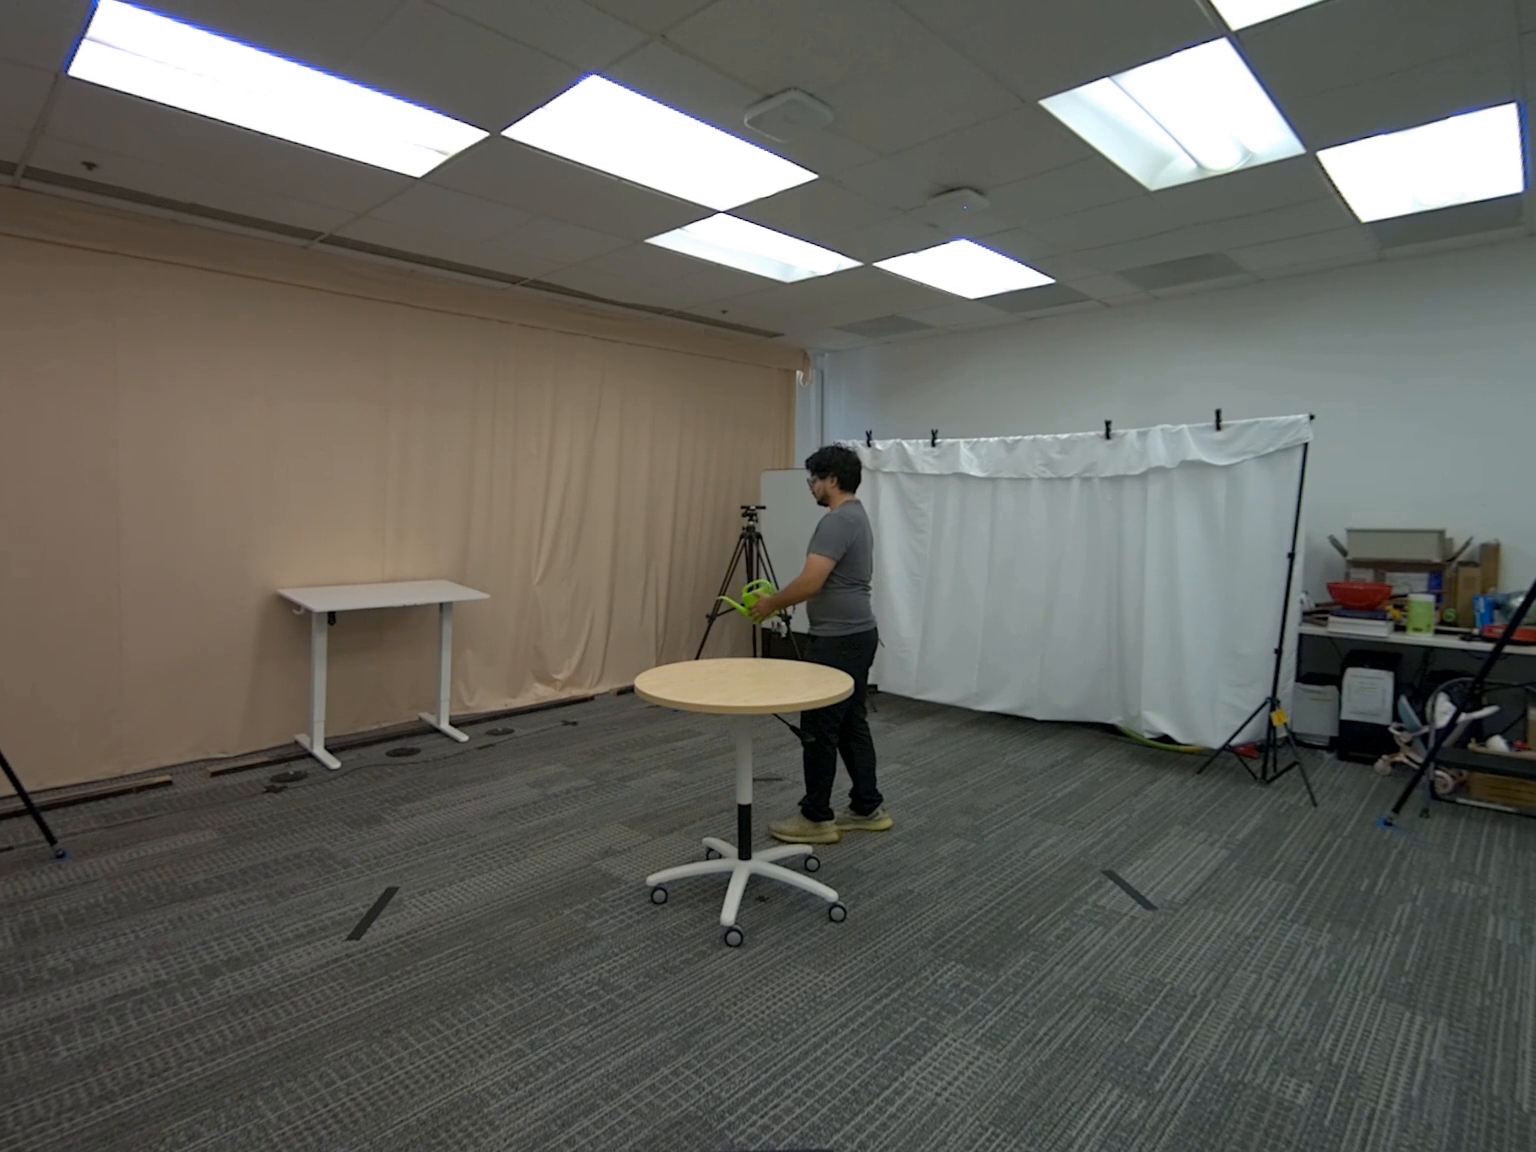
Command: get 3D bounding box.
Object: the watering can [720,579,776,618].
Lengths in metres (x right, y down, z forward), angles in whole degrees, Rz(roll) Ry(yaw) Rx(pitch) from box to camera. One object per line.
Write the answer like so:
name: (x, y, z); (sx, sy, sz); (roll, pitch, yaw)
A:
watering can: (-0.072, 0.128, 3.754); (0.284, 0.177, 0.096); (-24, -3, 38)
